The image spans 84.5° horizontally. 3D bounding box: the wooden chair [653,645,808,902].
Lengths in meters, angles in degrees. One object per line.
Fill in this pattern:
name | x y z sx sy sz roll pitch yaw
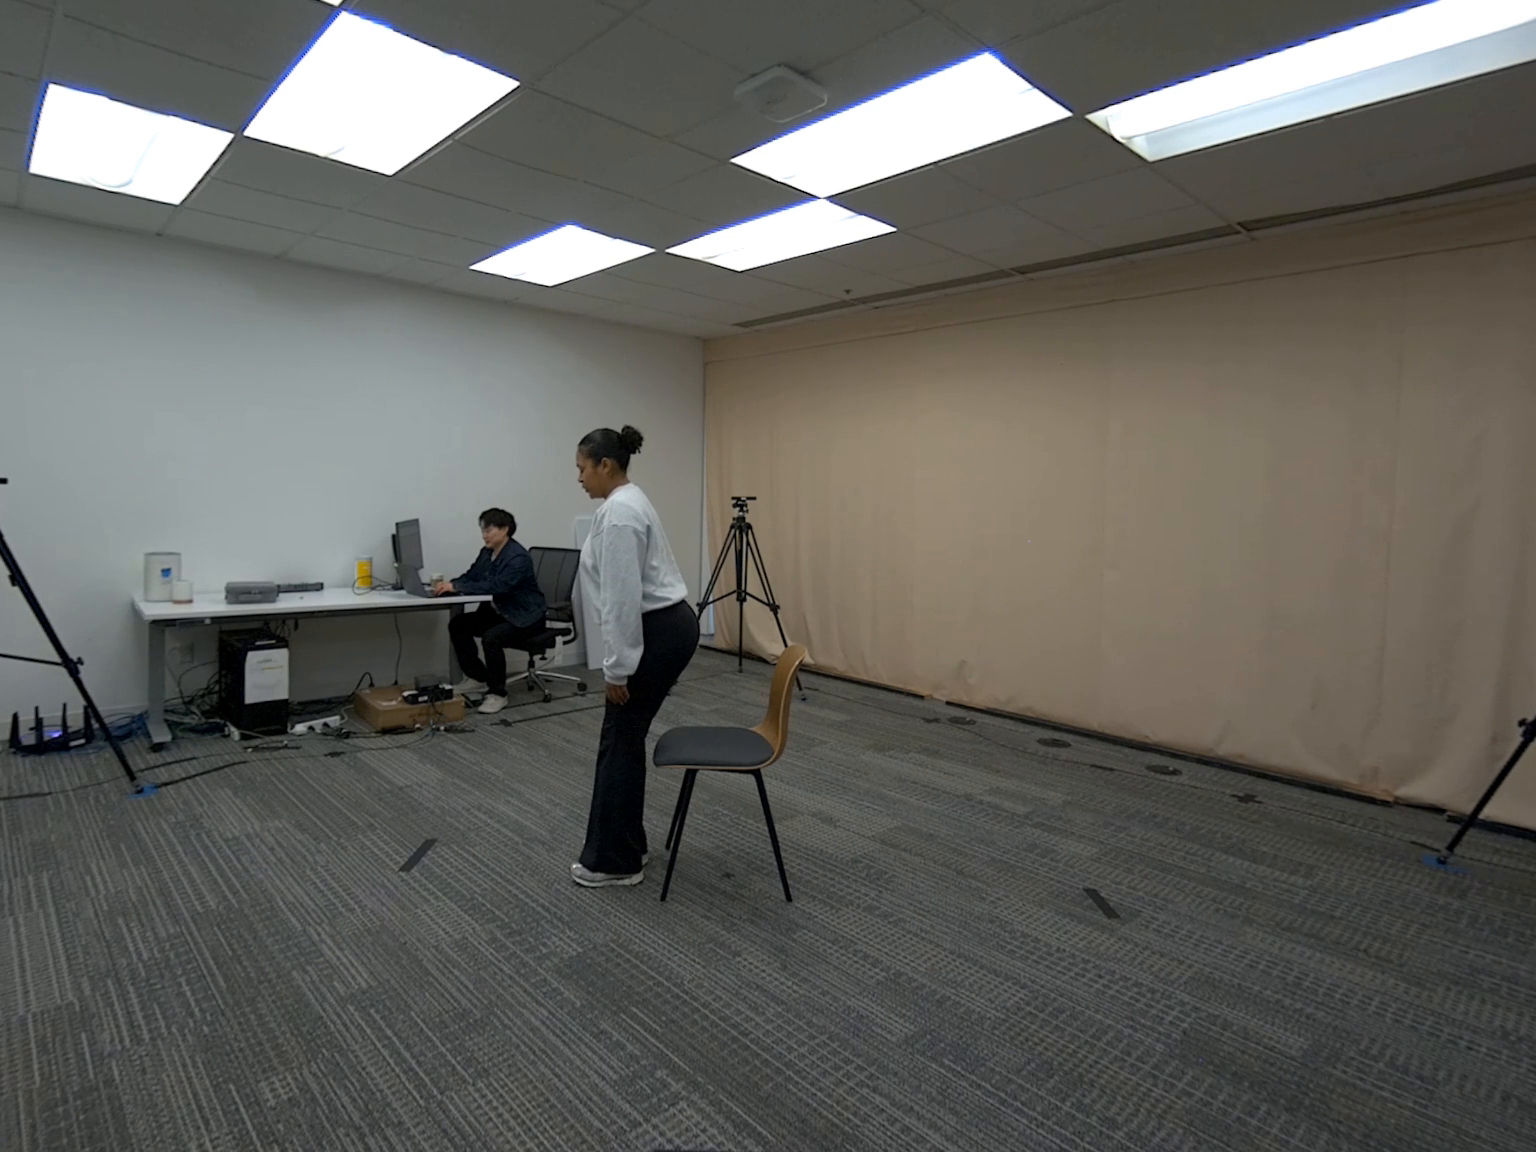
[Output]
wooden chair | -0.161 0.676 3.087 0.521 0.875 0.481 5 4 -5
